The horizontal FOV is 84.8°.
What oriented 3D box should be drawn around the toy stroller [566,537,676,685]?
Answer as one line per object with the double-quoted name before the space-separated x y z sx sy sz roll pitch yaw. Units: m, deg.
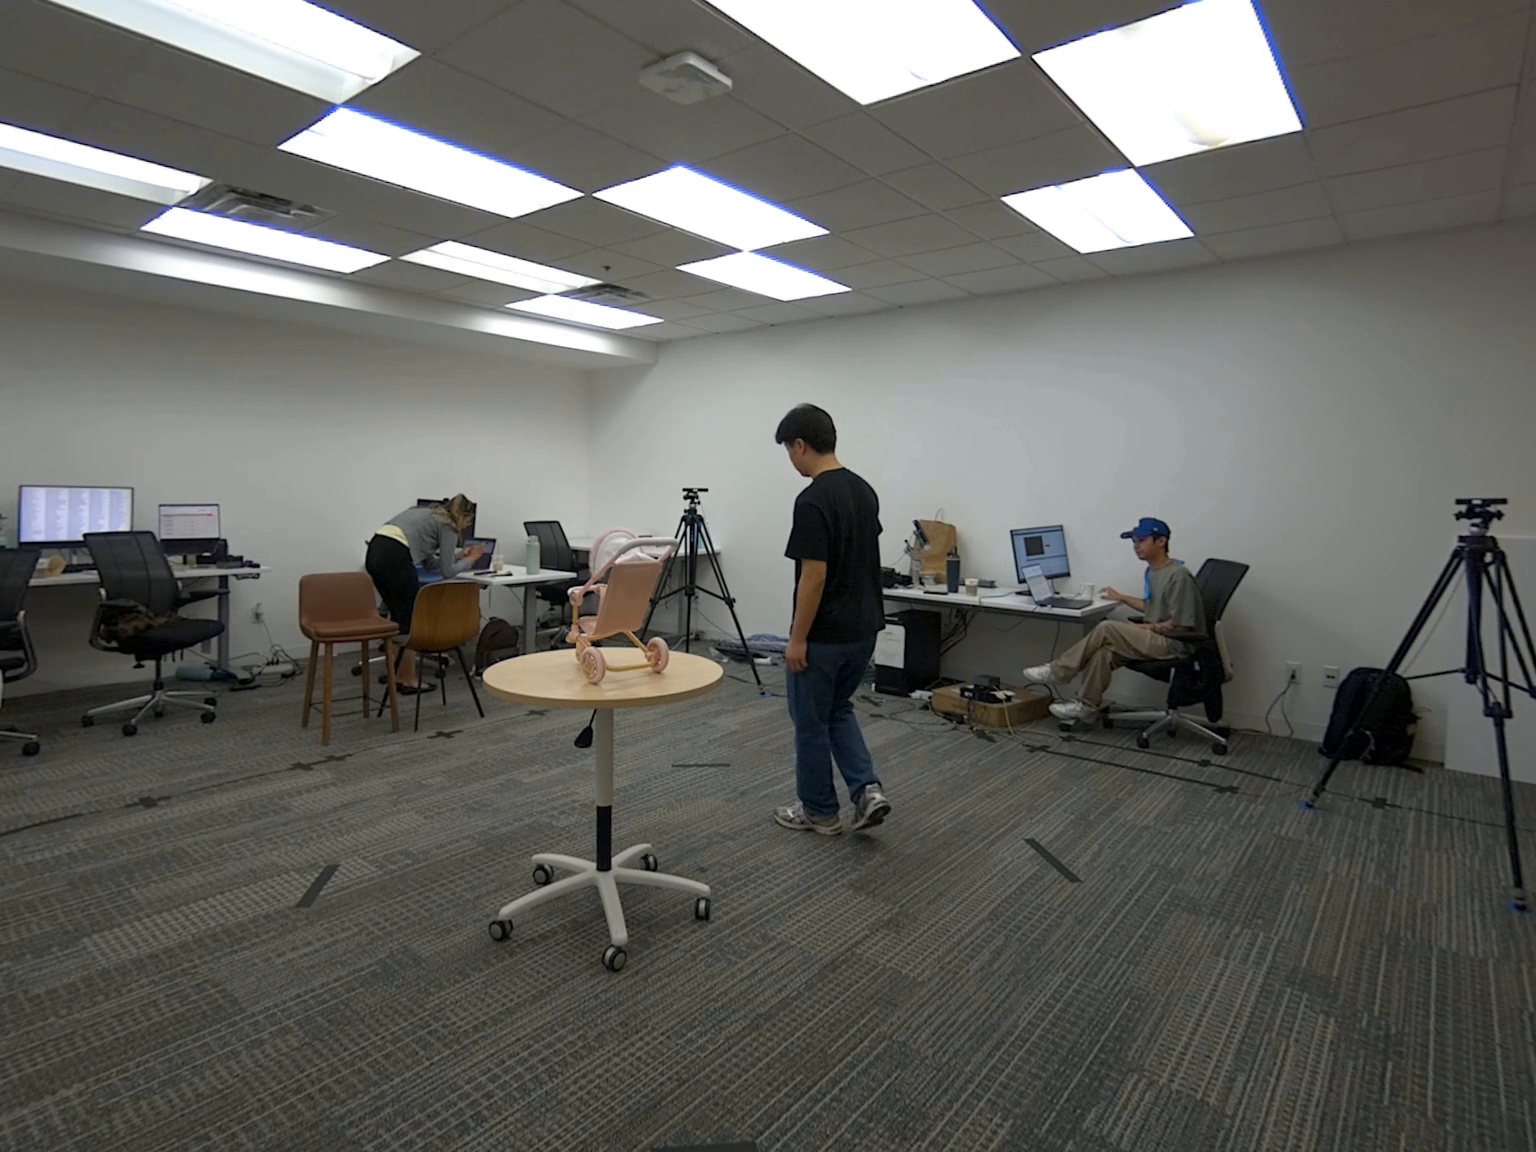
"toy stroller" -0.493 0.085 2.692 0.273 0.529 0.355 -2 19 -39
